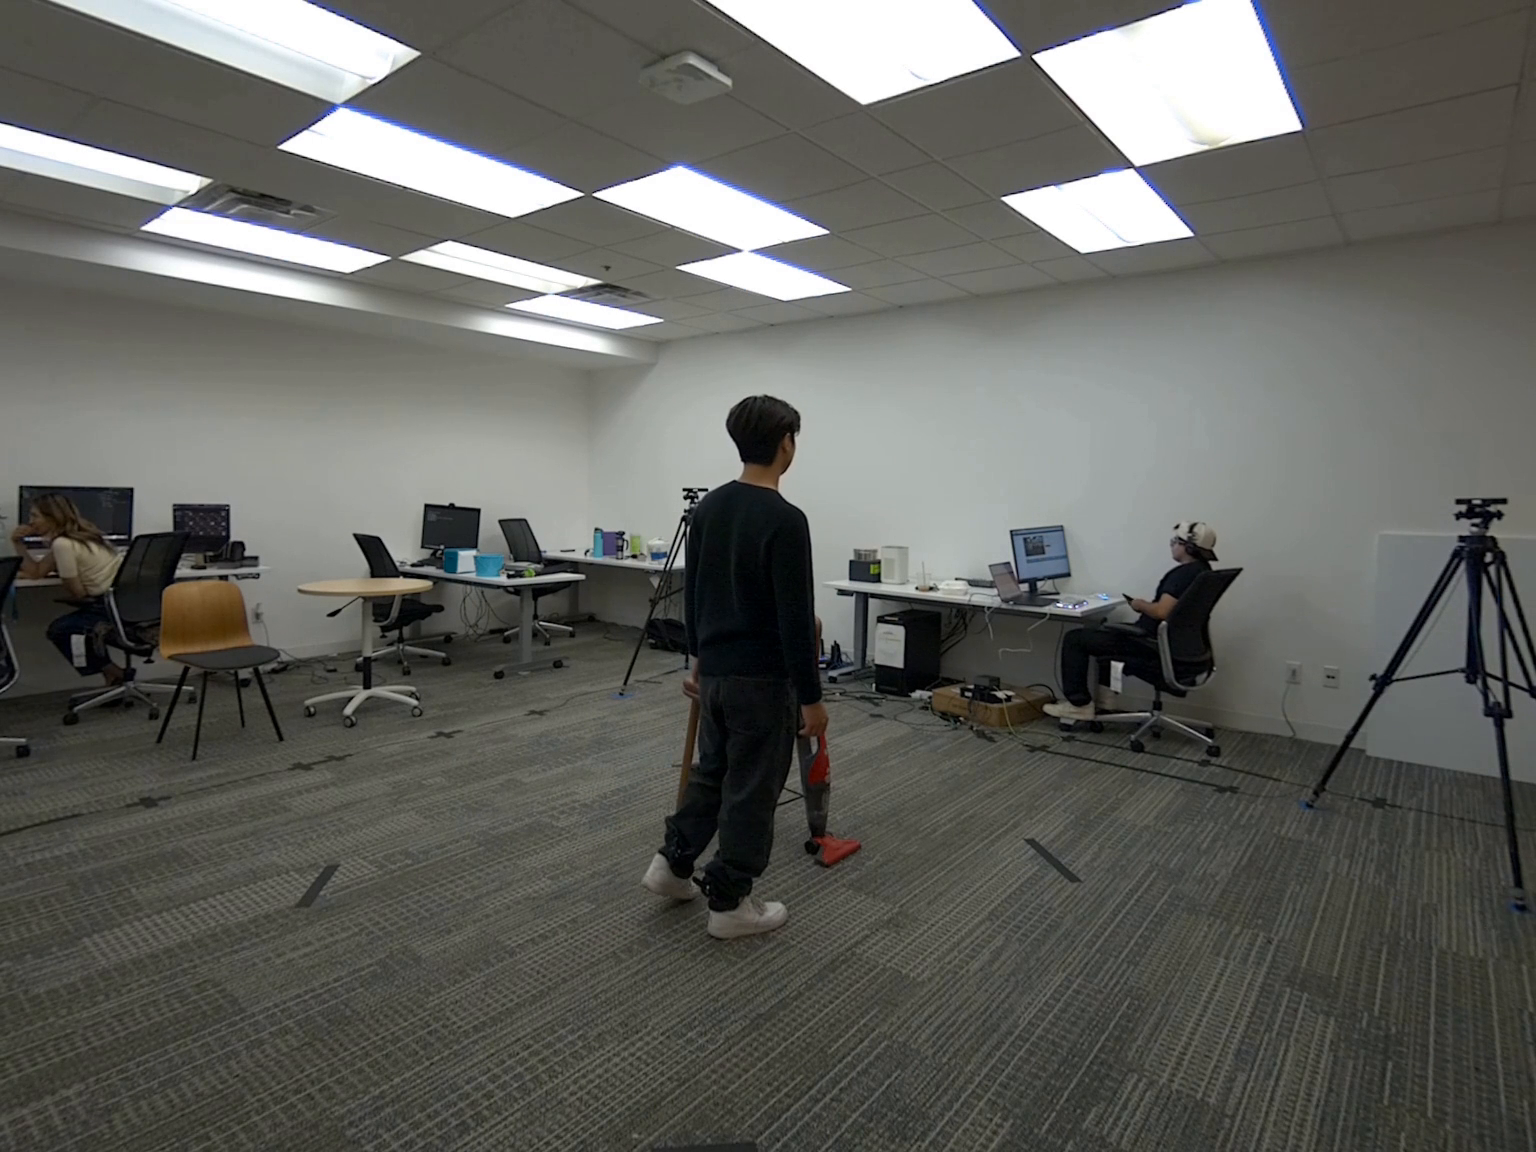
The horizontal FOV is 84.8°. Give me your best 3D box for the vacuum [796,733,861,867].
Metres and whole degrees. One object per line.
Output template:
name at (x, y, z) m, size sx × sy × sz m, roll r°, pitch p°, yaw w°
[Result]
vacuum at (0.163, 0.553, 3.335) m, size 0.147 × 1.056 × 0.245 m, roll -12°, pitch -7°, yaw 39°
